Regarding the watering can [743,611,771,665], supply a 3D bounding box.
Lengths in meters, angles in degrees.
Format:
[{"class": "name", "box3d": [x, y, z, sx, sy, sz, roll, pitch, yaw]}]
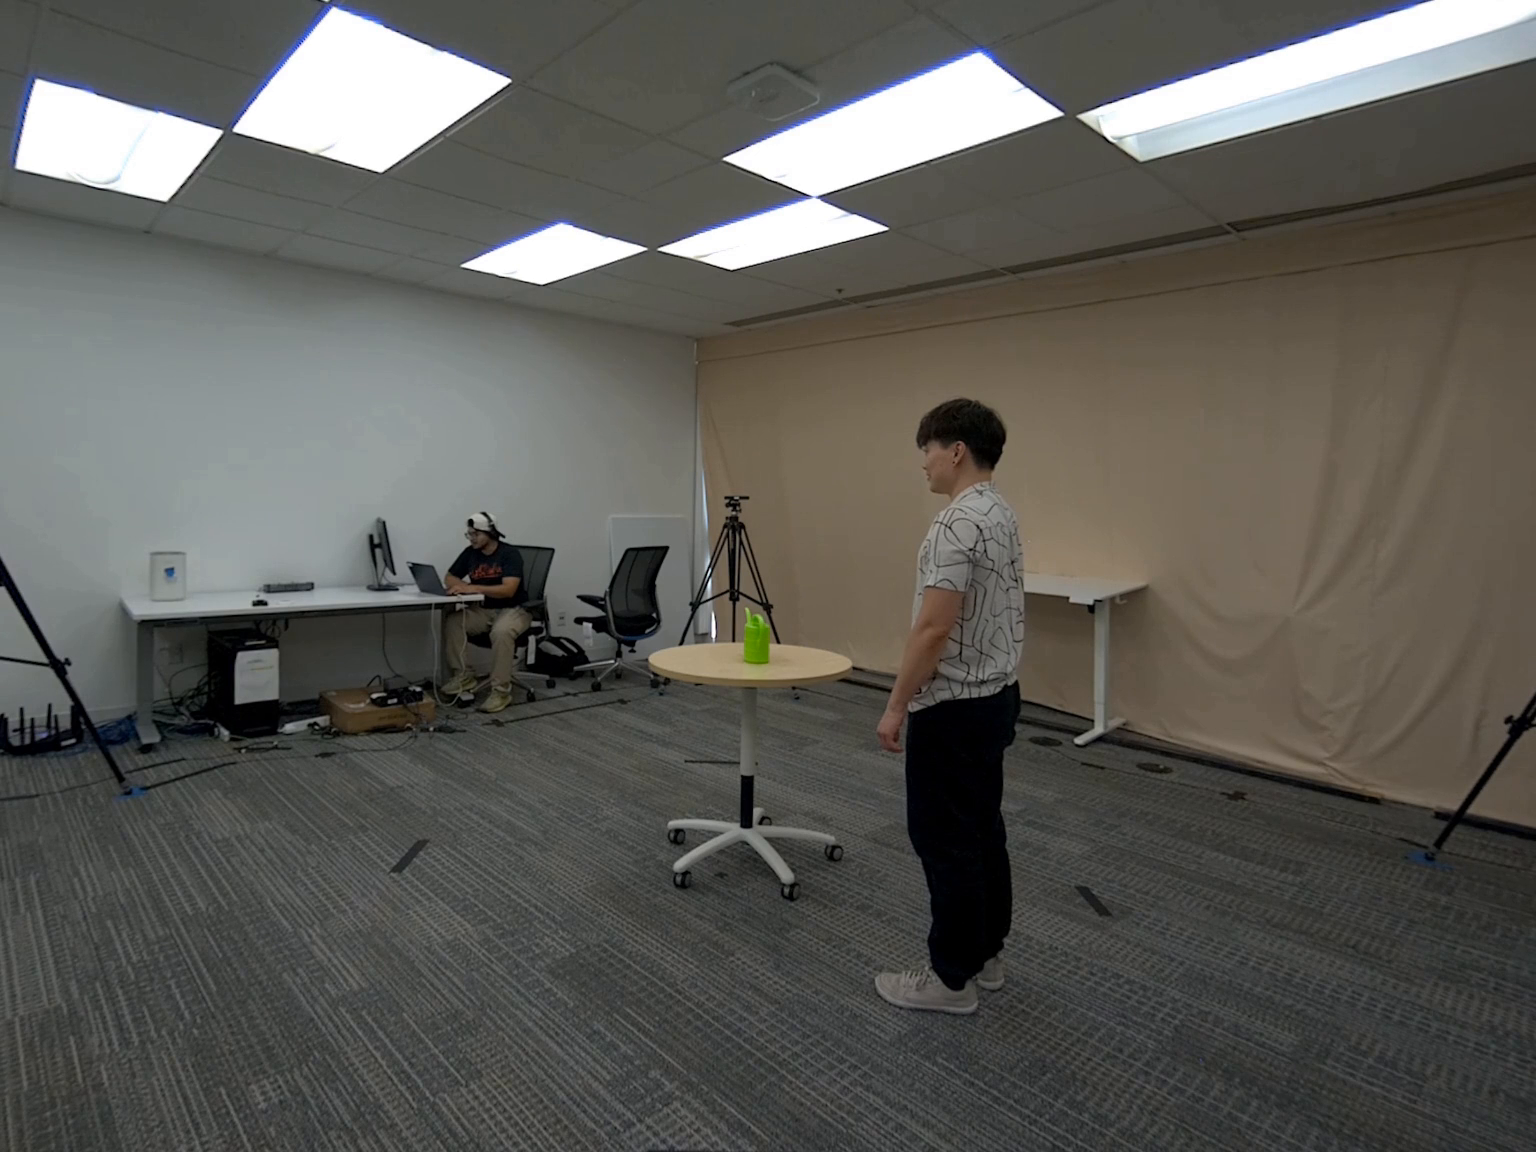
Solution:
[{"class": "watering can", "box3d": [-0.047, 0.235, 3.178, 0.098, 0.176, 0.278, 5, 4, 0]}]
